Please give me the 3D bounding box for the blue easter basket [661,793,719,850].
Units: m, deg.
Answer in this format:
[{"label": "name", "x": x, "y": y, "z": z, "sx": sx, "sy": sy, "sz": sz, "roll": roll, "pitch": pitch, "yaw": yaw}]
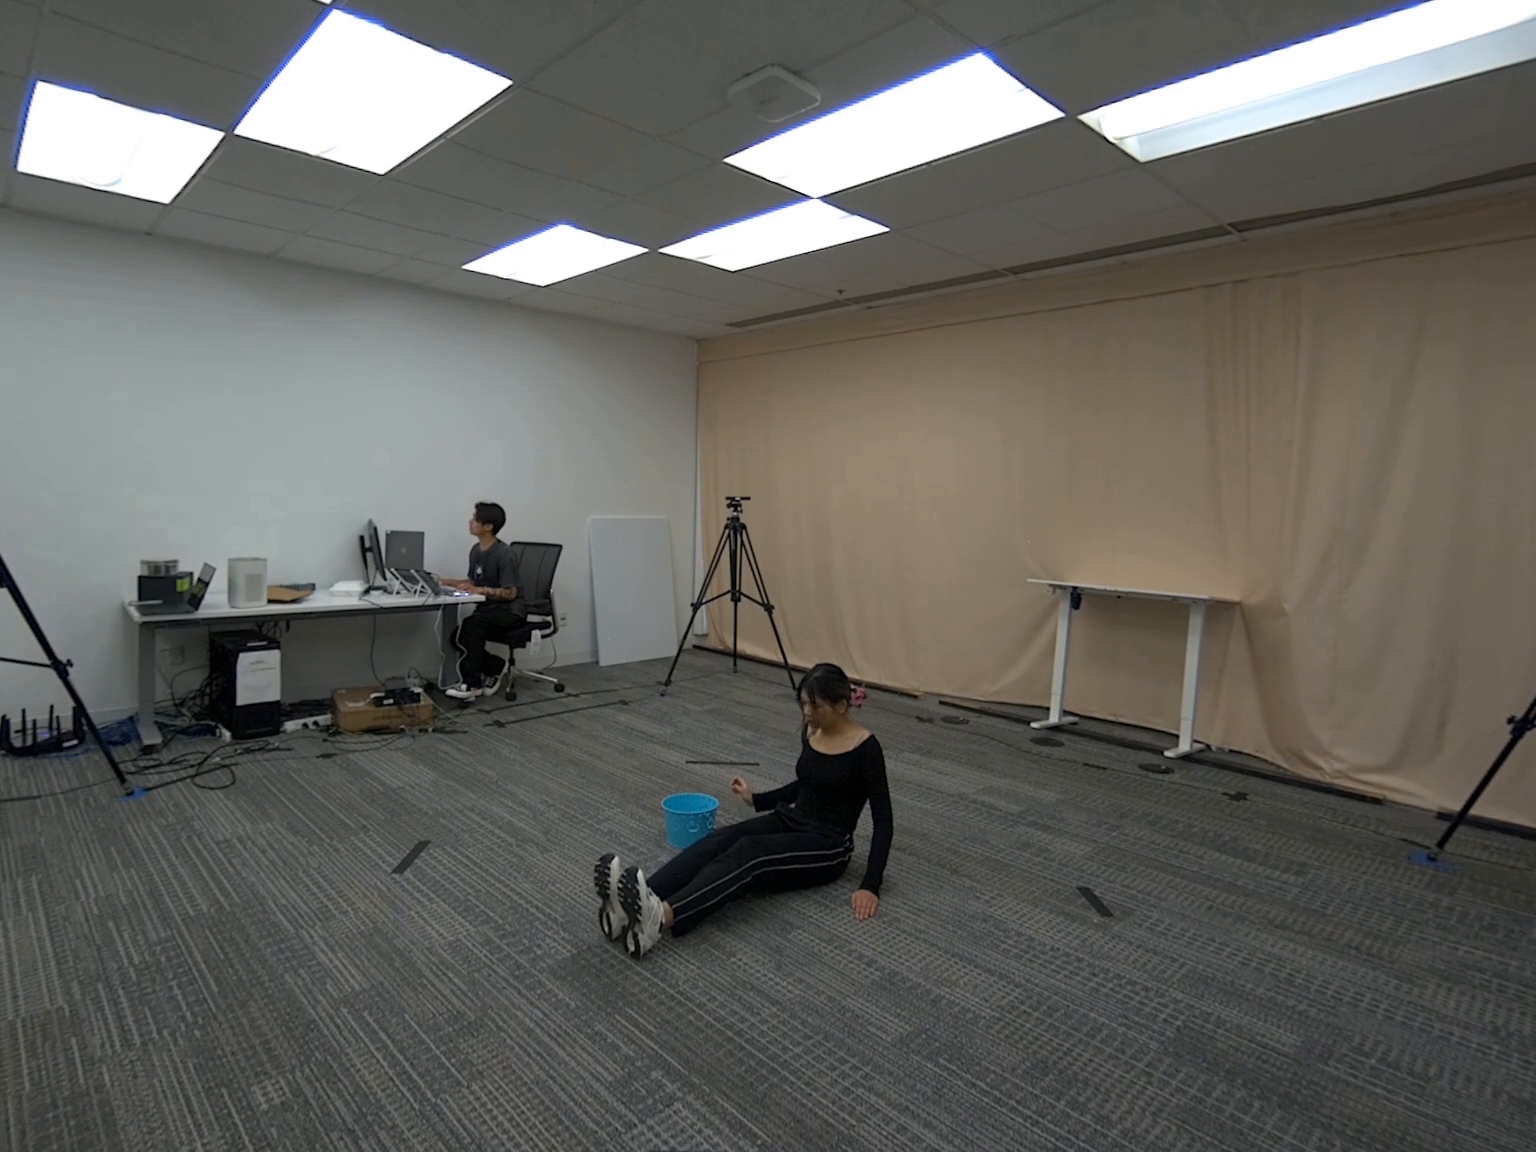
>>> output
[{"label": "blue easter basket", "x": -0.318, "y": 0.988, "z": 3.425, "sx": 0.243, "sy": 0.155, "sz": 0.244, "roll": 1, "pitch": 5, "yaw": -1}]
